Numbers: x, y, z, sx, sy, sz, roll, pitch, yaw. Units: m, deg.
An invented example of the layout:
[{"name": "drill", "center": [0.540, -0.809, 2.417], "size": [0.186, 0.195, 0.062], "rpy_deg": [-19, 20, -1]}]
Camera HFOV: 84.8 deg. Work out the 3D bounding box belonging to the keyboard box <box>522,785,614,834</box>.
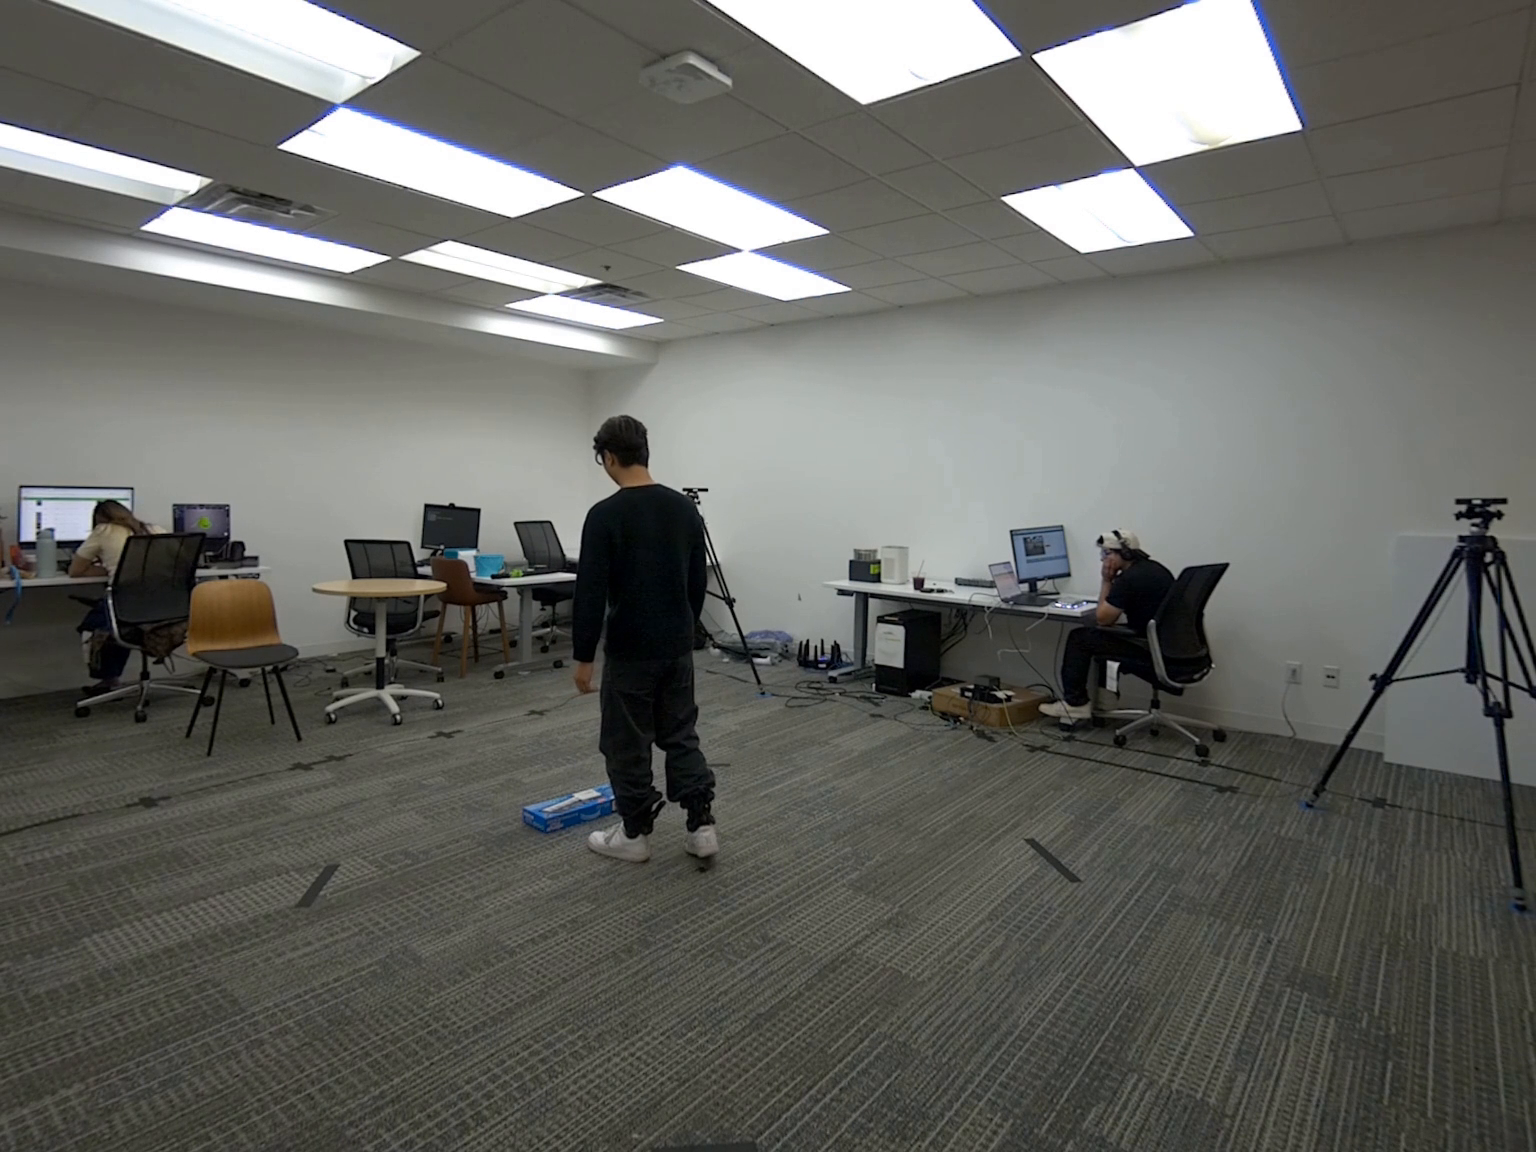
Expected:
[{"name": "keyboard box", "center": [-0.826, 0.982, 3.617], "size": [0.182, 0.059, 0.424], "rpy_deg": [5, 7, 43]}]
